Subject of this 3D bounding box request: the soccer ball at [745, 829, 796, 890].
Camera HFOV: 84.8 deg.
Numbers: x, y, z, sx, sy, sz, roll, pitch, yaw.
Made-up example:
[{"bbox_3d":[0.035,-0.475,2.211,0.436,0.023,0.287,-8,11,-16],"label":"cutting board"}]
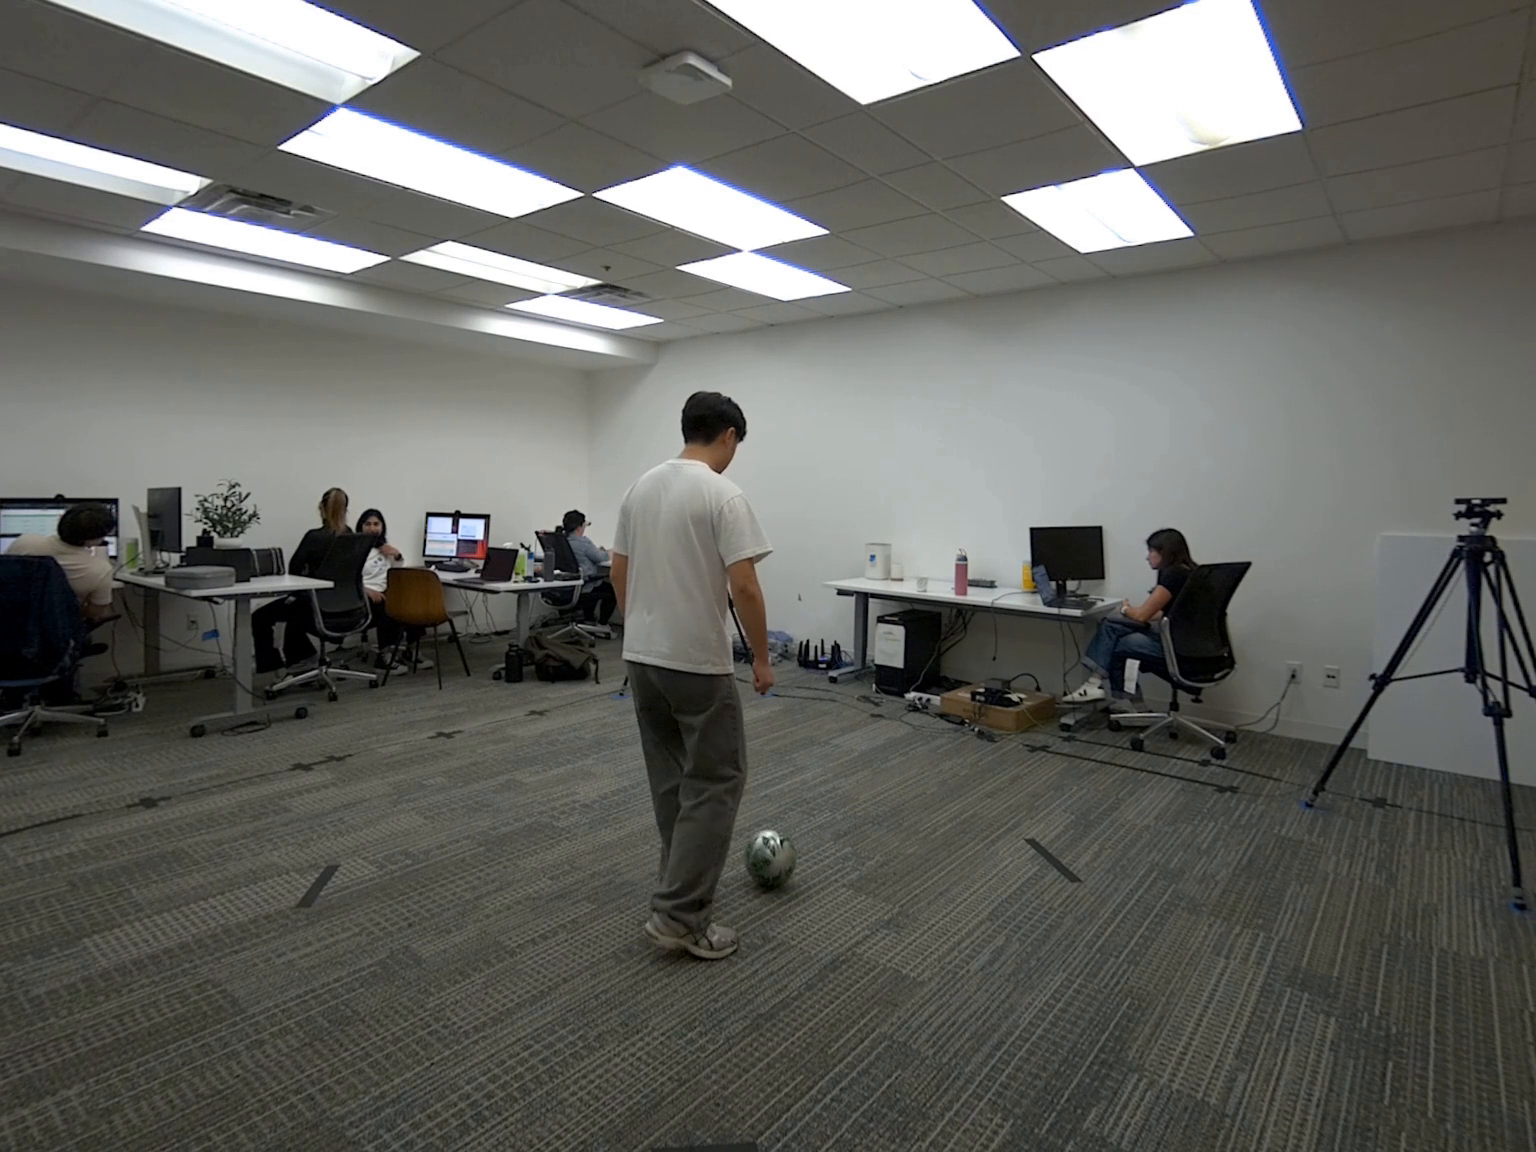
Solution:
[{"bbox_3d":[0.008,0.985,3.003,0.187,0.187,0.188,1,4,-2],"label":"soccer ball"}]
